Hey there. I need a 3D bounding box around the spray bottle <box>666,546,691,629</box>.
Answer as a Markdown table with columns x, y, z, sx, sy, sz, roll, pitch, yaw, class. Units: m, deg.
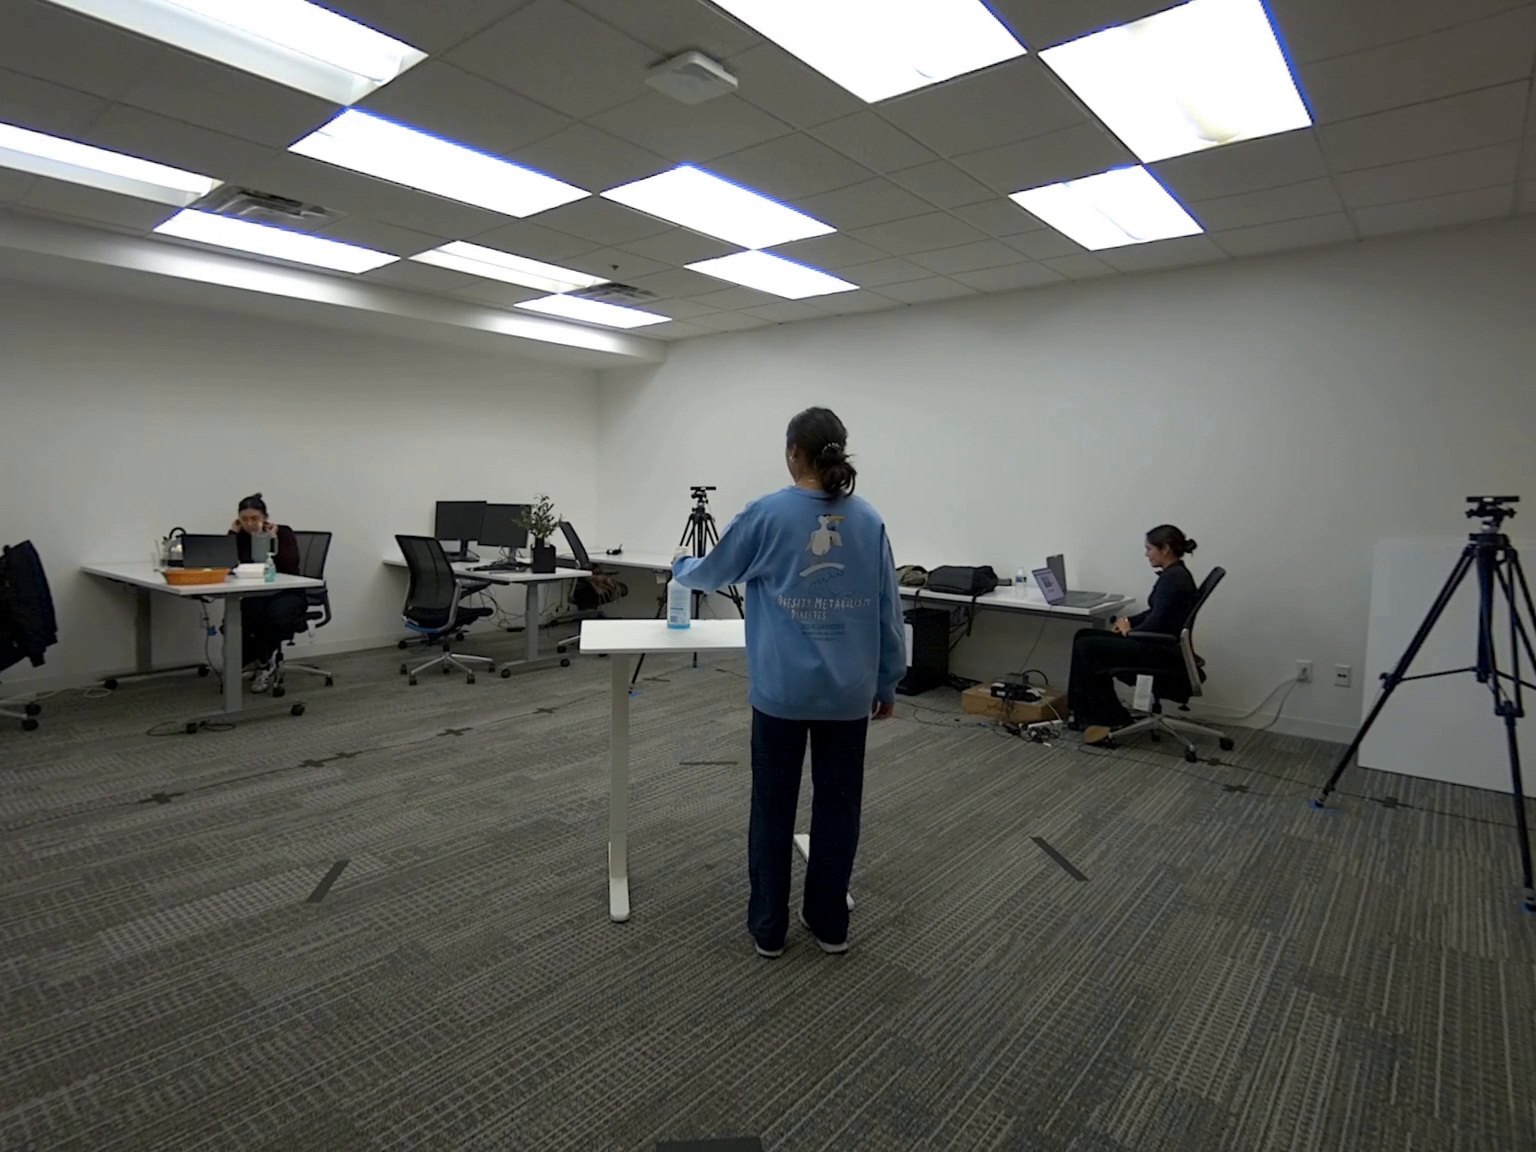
| x | y | z | sx | sy | sz | roll | pitch | yaw | class |
| --- | --- | --- | --- | --- | --- | --- | --- | --- | --- |
| -0.333 | 0.039 | 3.088 | 0.087 | 0.296 | 0.090 | 2 | 3 | -3 | spray bottle |
